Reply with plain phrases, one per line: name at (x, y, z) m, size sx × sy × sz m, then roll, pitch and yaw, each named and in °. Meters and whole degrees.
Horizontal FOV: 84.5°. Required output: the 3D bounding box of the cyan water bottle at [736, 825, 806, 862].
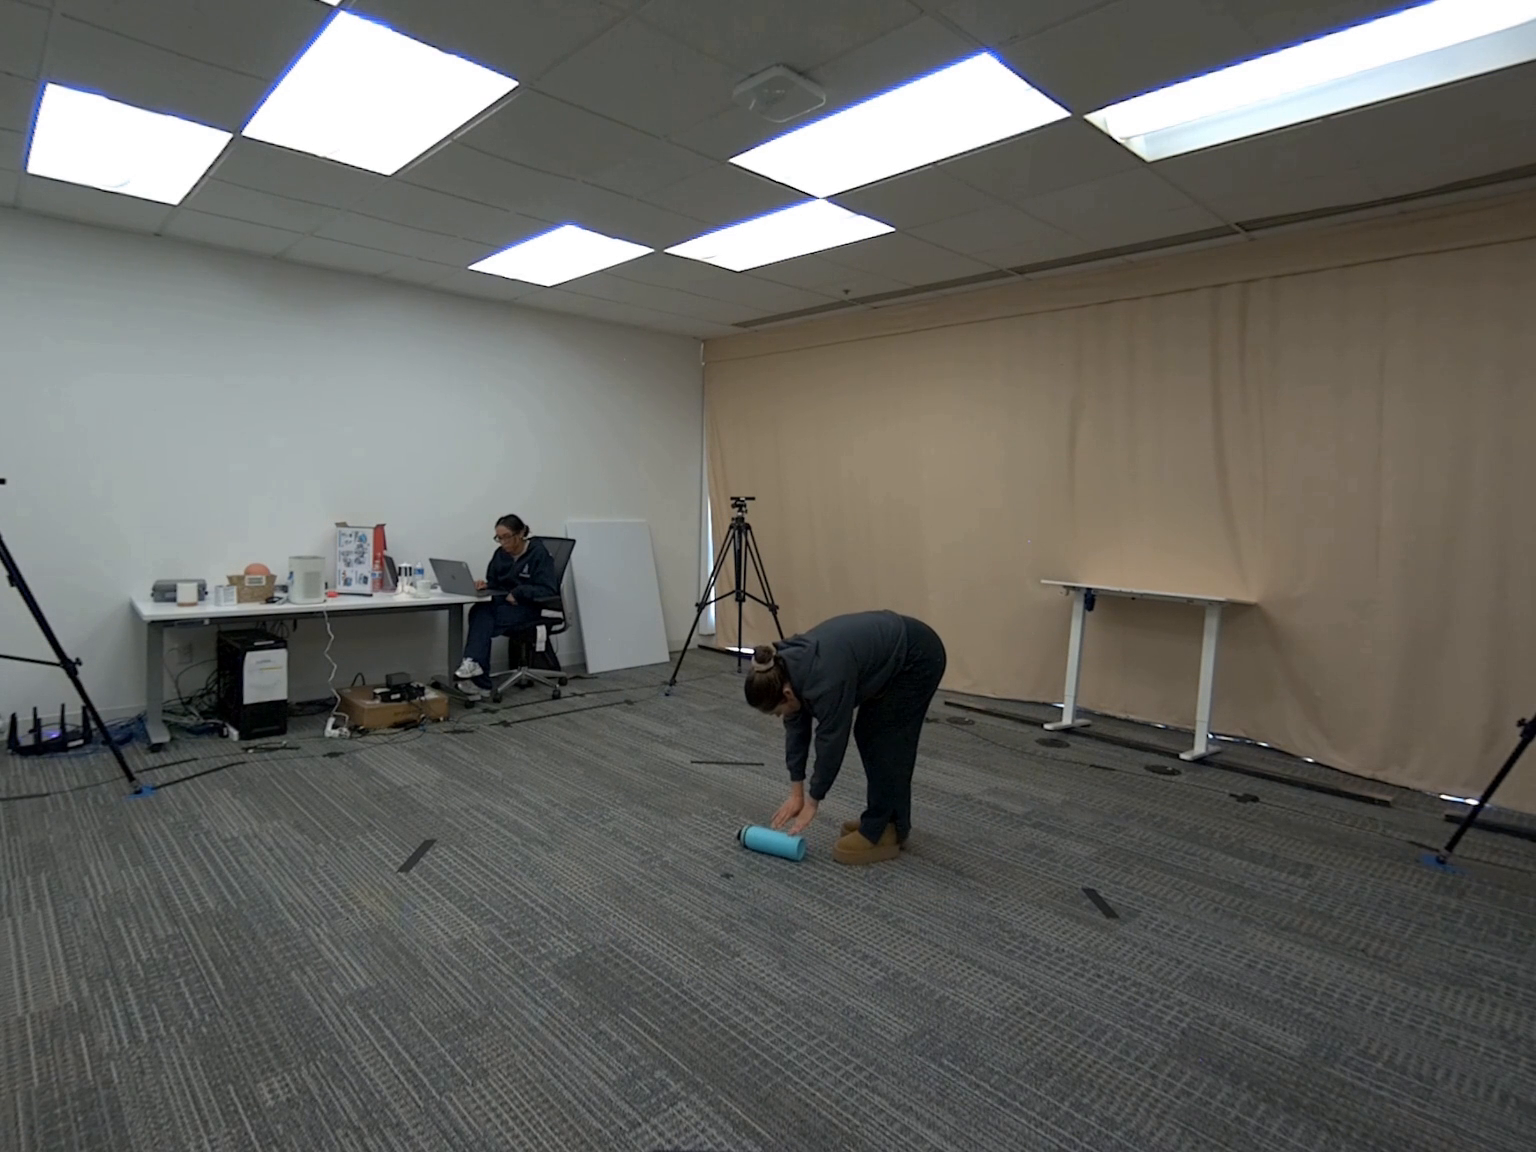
cyan water bottle at (-0.004, 1.043, 3.330) m, size 0.289 × 0.092 × 0.091 m, roll 2°, pitch 4°, yaw 27°
